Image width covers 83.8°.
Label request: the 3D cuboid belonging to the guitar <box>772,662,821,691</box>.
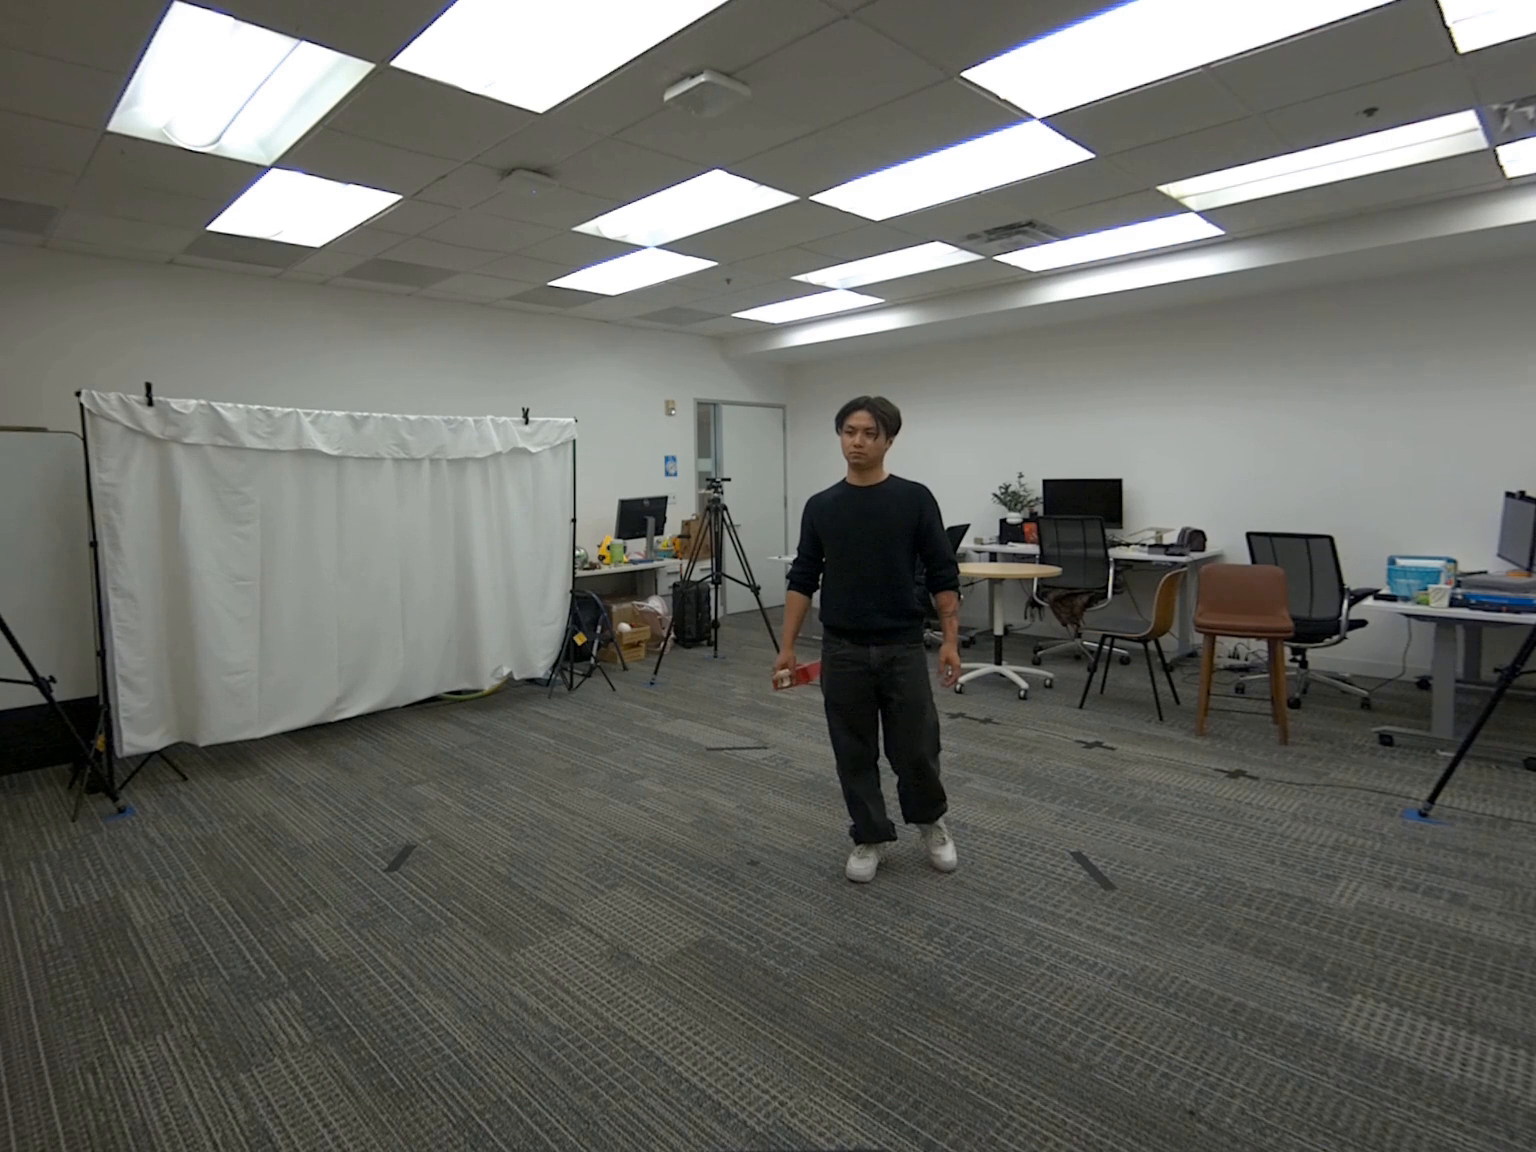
[{"bbox_3d":[0.067,0.374,3.105,0.195,0.071,0.488,-15,-3,19],"label":"guitar"}]
